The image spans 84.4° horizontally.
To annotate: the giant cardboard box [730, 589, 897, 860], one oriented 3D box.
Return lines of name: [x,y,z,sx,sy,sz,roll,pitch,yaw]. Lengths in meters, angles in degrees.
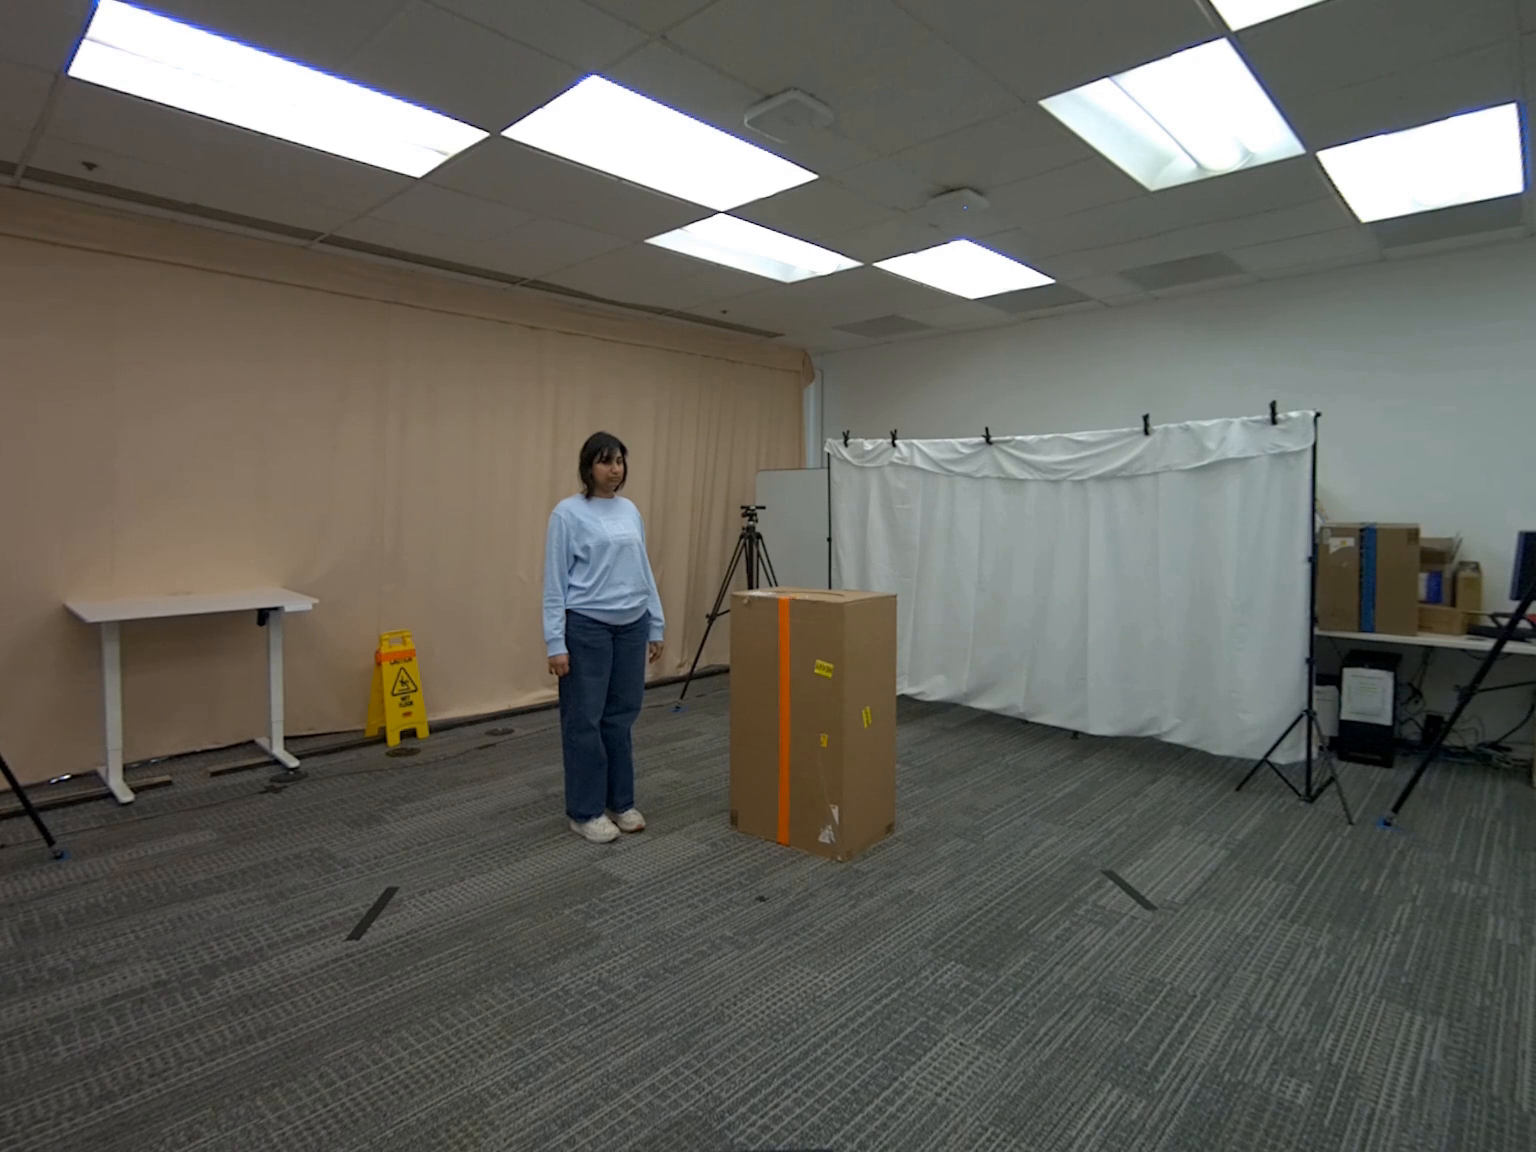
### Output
giant cardboard box: [0.191,0.582,3.591,0.603,1.025,0.433,3,4,39]
